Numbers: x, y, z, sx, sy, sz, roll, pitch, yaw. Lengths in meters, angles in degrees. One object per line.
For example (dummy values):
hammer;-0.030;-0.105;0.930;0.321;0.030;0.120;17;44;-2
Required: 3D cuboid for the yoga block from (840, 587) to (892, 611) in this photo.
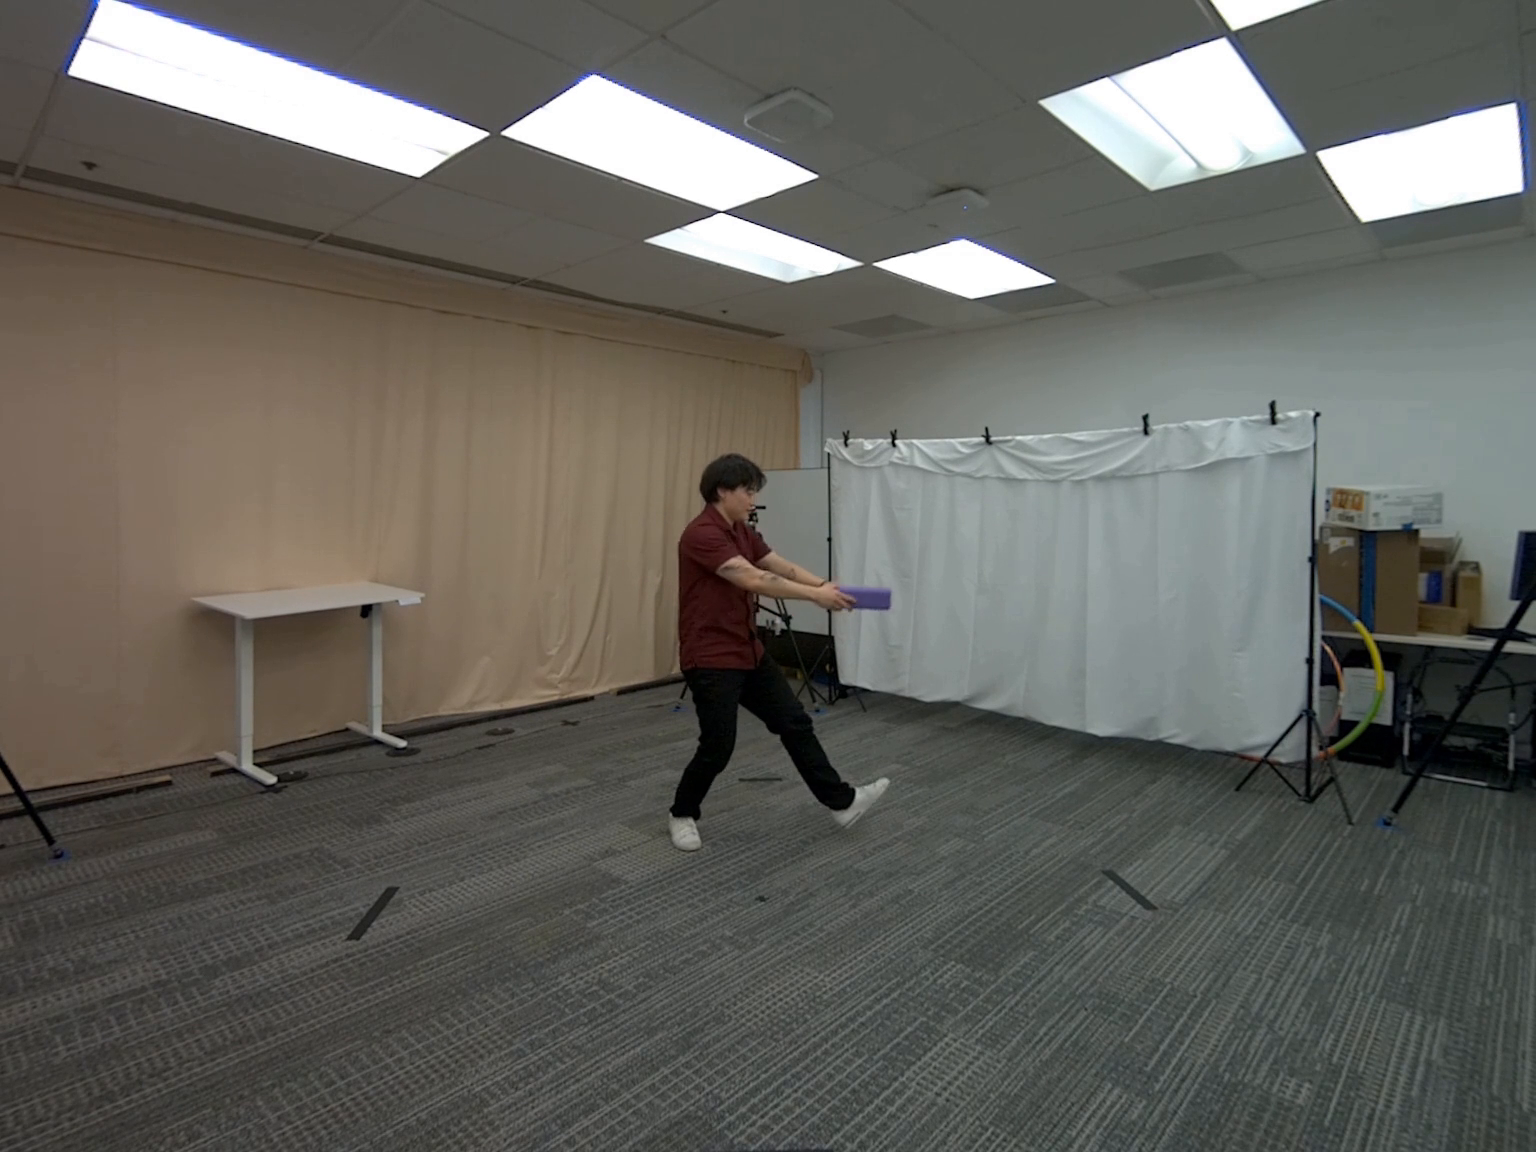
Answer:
yoga block;0.373;0.080;3.299;0.231;0.076;0.148;2;1;5
